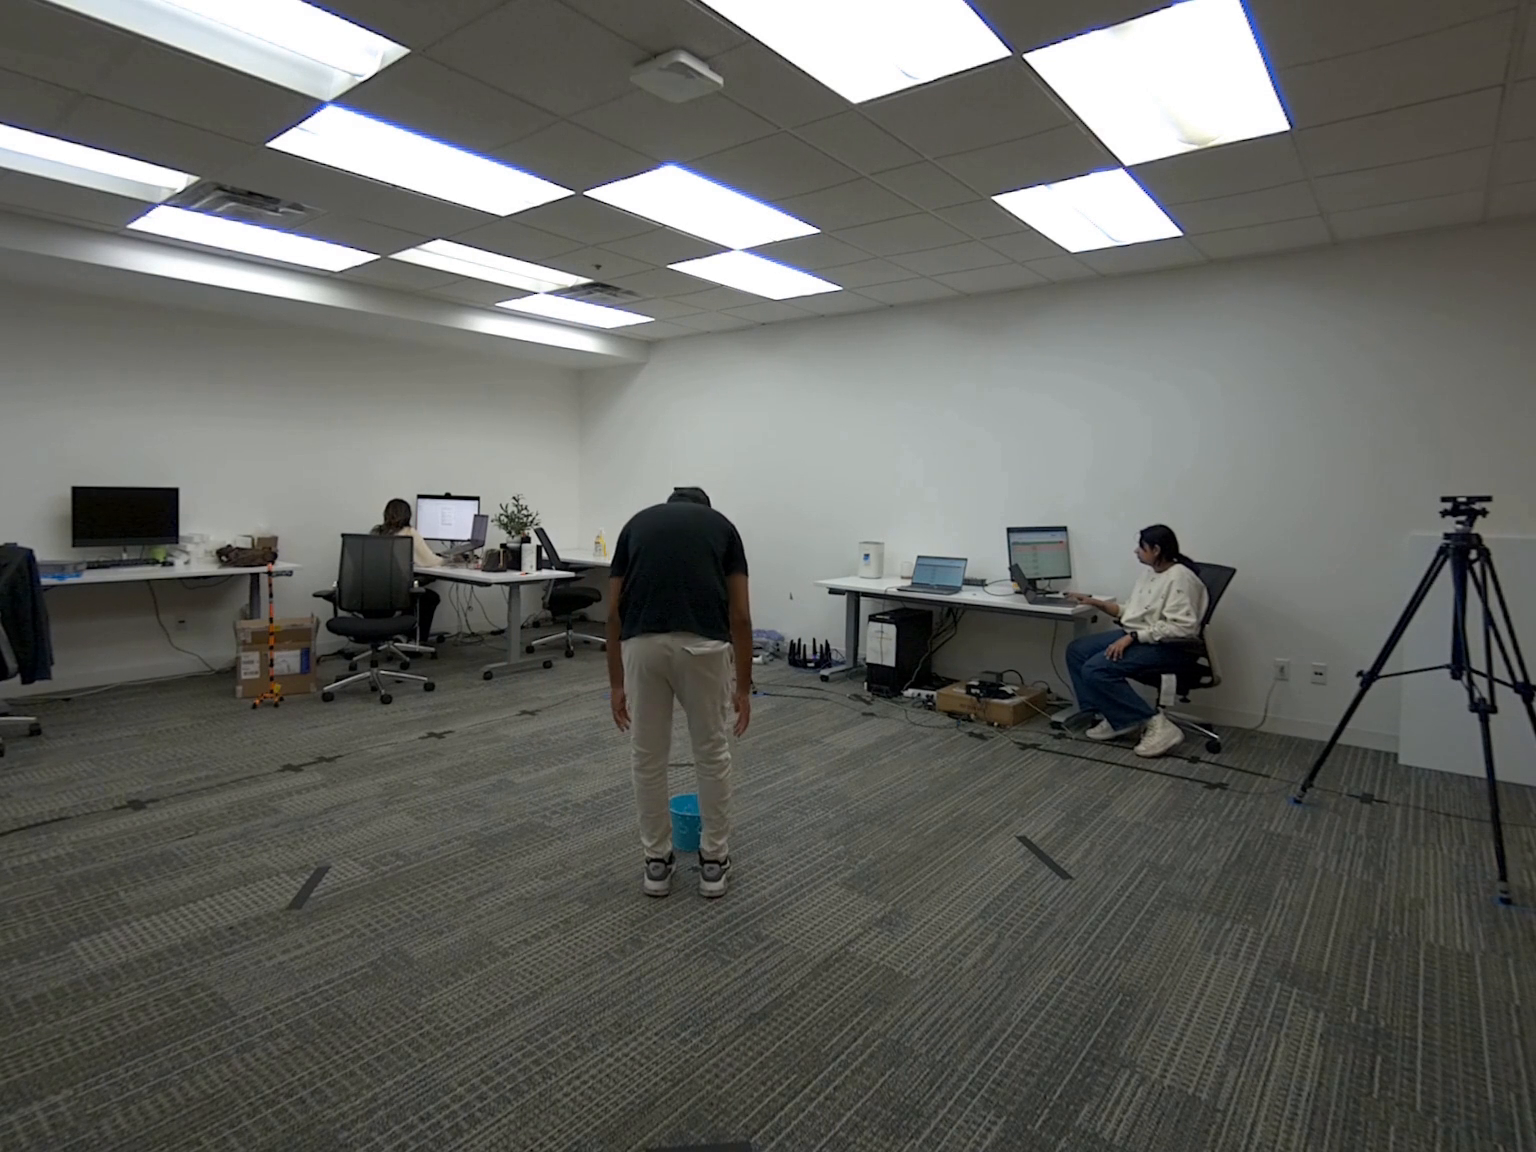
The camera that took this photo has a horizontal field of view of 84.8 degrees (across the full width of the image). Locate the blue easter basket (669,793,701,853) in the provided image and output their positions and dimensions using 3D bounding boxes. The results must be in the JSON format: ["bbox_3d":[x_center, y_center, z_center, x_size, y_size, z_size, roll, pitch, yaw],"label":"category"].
[{"bbox_3d":[-0.293,0.961,3.339,0.243,0.155,0.245,1,5,-2],"label":"blue easter basket"}]
